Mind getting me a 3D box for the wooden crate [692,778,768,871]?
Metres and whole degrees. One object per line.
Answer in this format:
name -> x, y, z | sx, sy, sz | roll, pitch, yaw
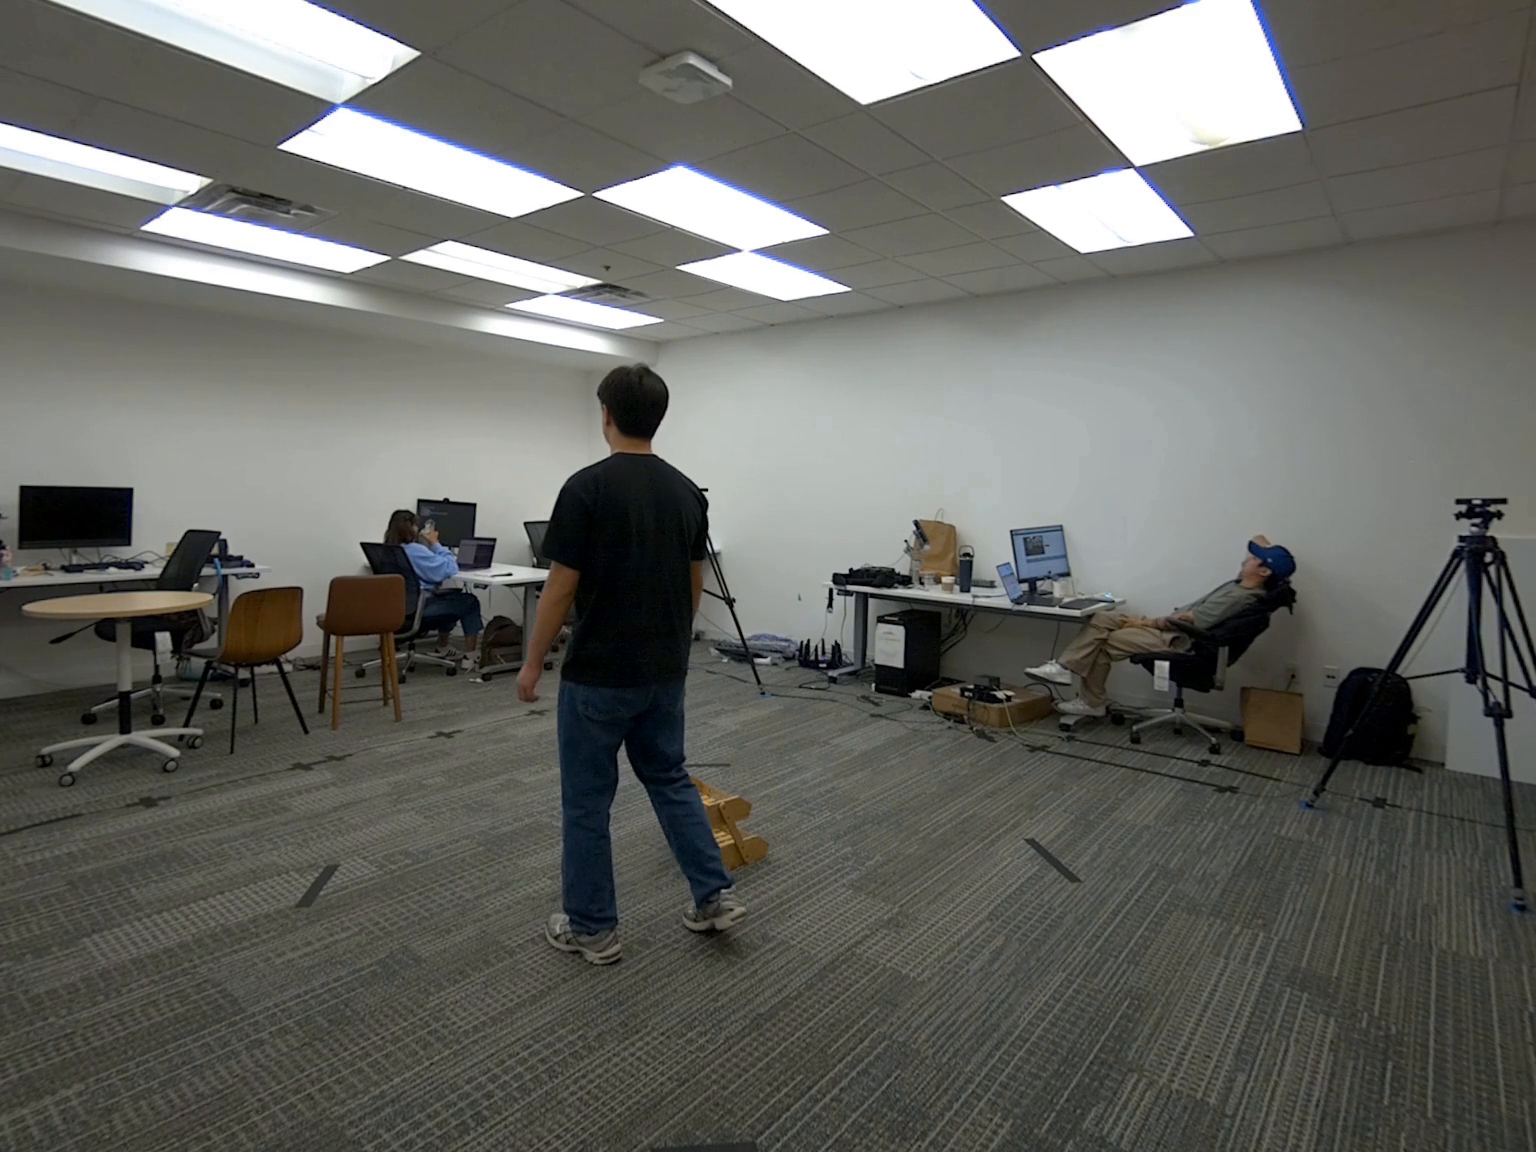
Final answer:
wooden crate -> -0.213, 0.920, 3.257 | 0.293, 0.272, 0.335 | -4, 6, -41
